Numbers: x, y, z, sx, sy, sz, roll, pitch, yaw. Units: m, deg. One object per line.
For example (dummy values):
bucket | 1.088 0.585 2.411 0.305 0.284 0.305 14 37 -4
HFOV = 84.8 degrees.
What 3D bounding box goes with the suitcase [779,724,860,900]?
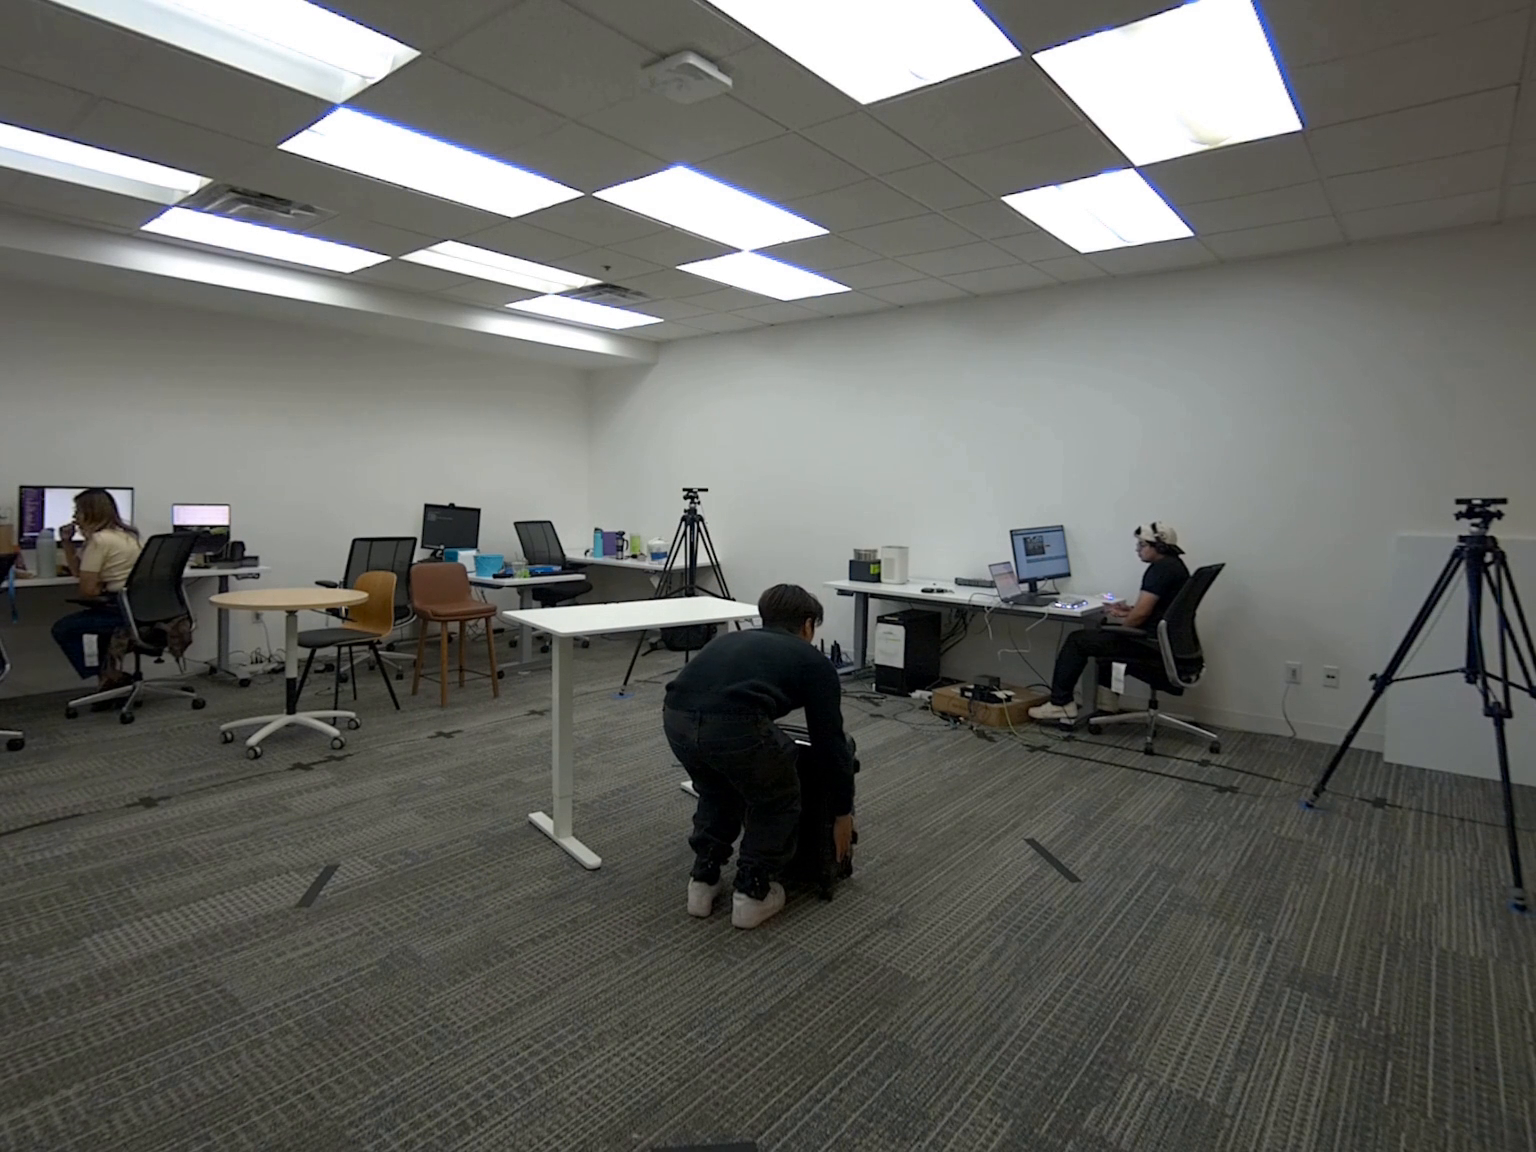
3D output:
suitcase | 0.113 0.807 3.042 0.385 0.548 0.242 3 4 26
